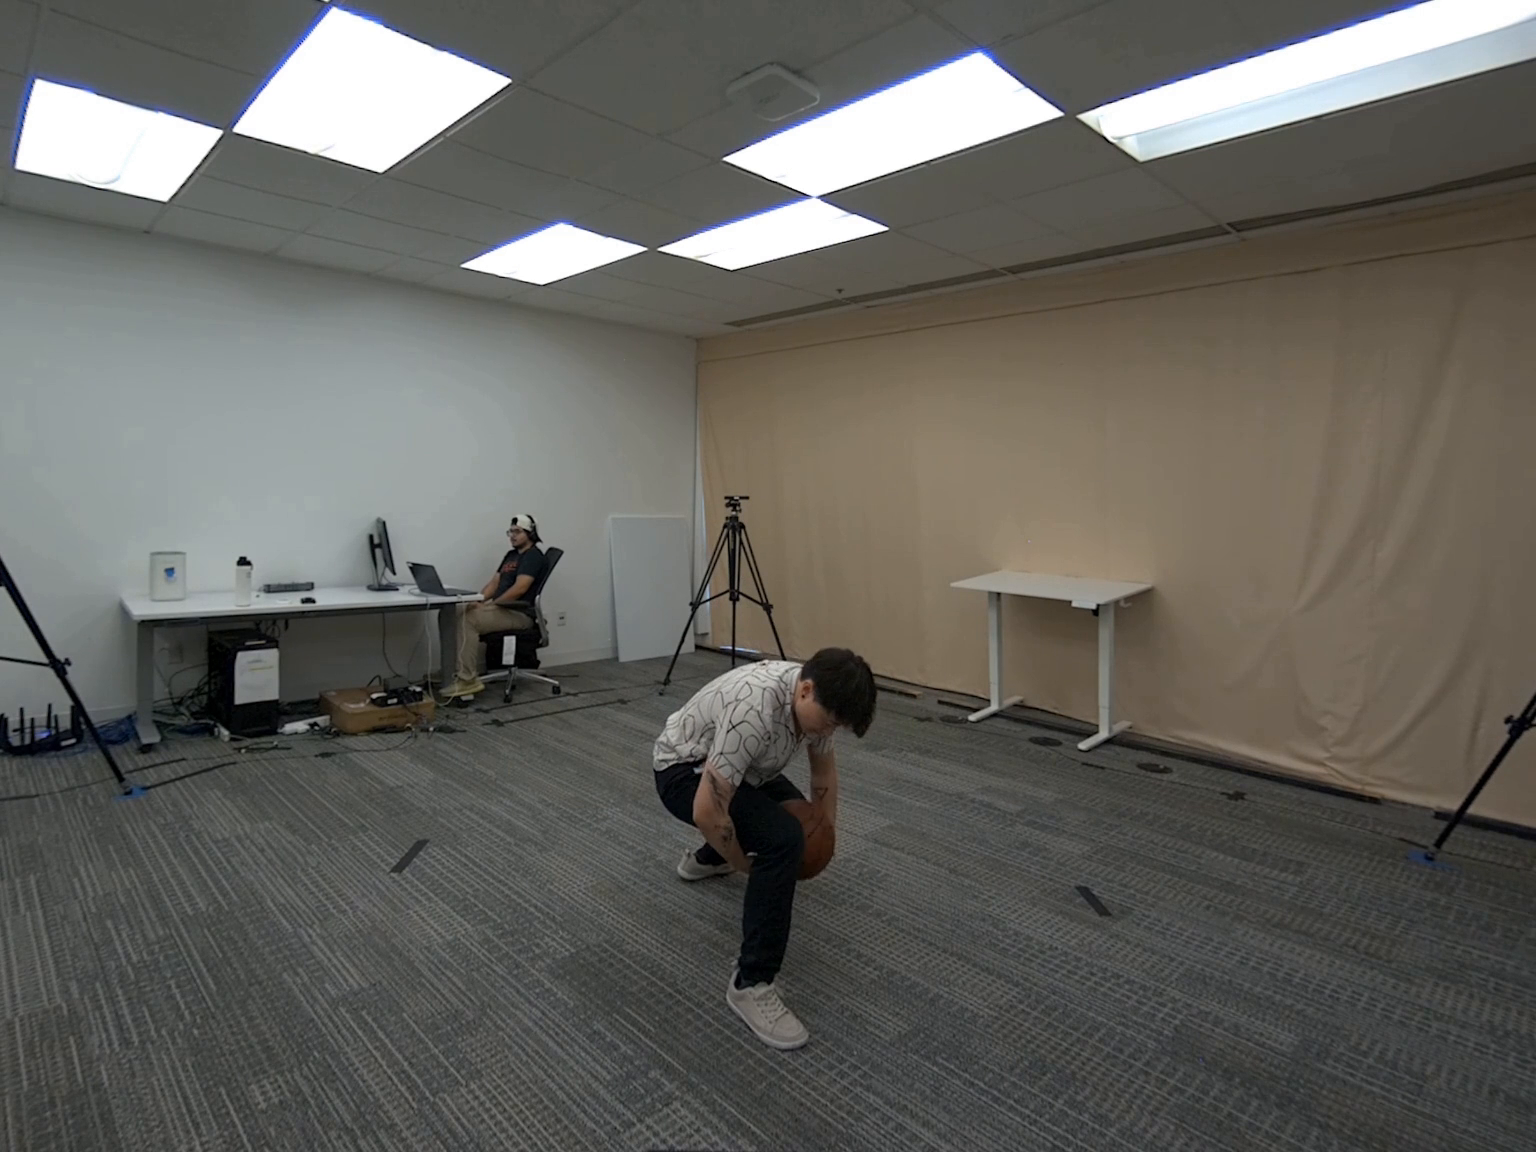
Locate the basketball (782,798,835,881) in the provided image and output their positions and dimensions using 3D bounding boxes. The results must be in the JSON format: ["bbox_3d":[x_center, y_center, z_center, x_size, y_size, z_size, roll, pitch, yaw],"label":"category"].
[{"bbox_3d":[0.091,0.810,2.595,0.236,0.235,0.237,1,4,-1],"label":"basketball"}]
